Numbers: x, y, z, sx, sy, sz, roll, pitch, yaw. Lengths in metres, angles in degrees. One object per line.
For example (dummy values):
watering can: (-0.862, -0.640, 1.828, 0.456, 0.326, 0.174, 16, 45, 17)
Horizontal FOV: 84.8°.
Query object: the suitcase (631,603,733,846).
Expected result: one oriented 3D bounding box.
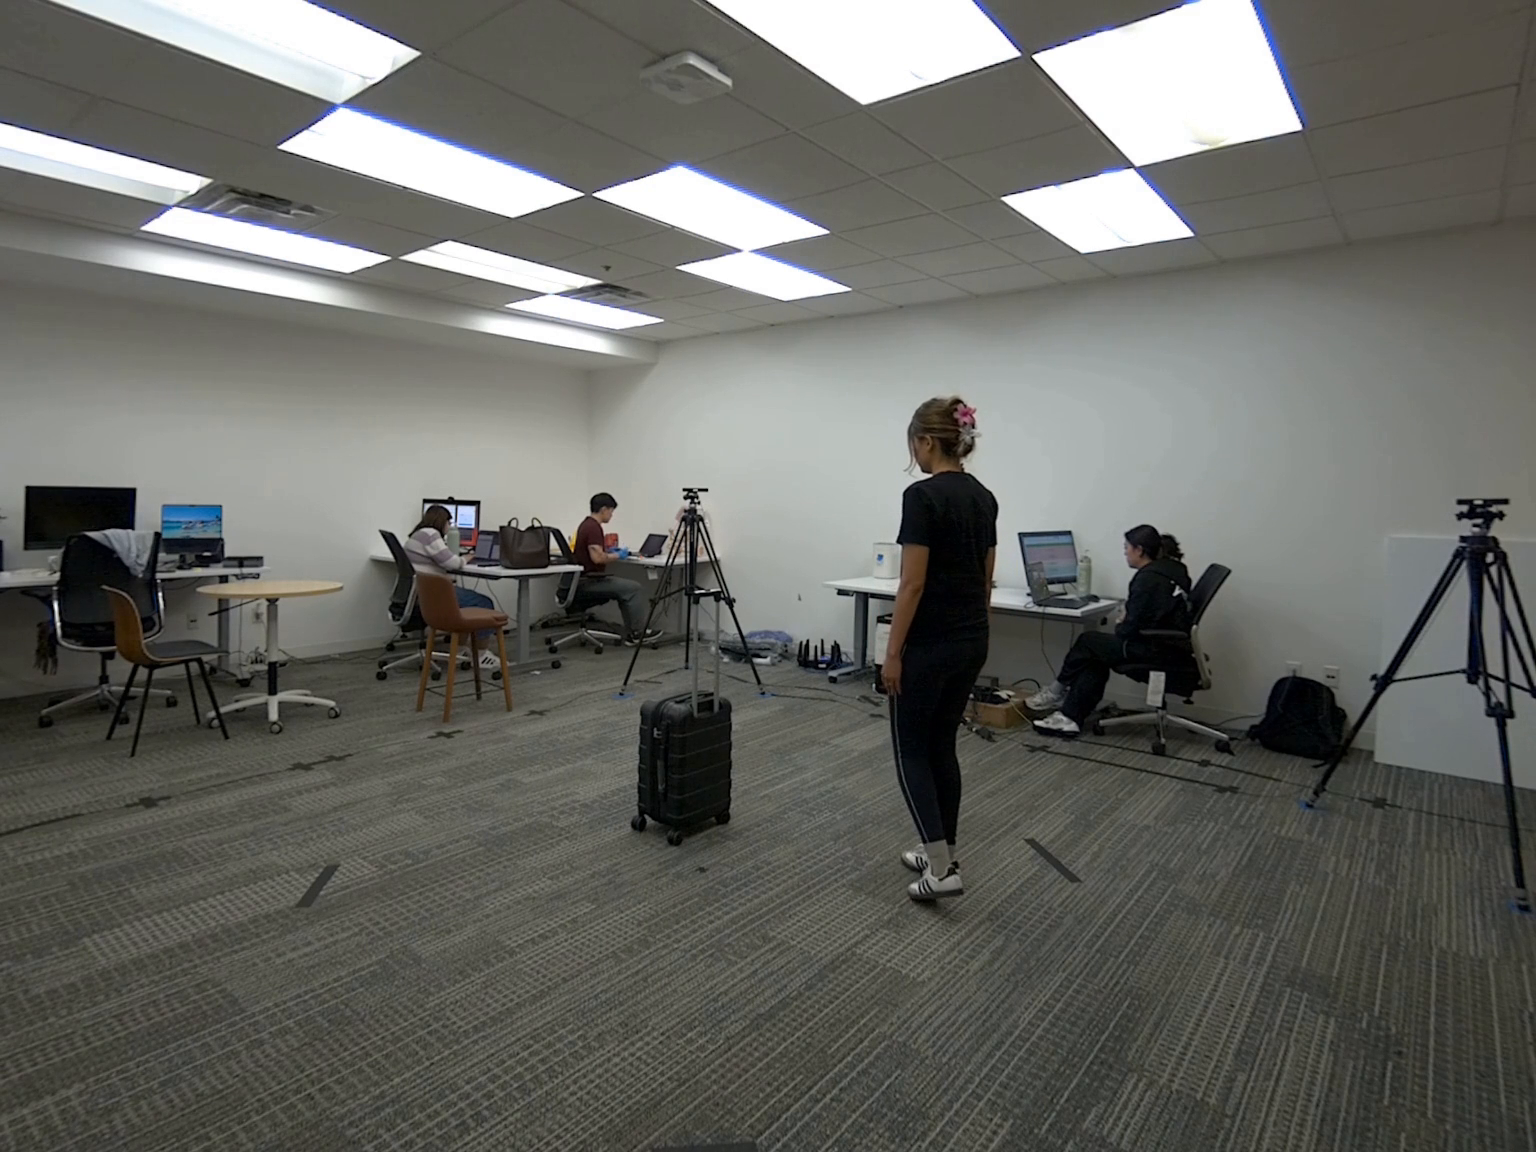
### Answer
suitcase: (-0.354, 0.553, 3.509, 0.265, 0.979, 0.372, 0, 0, 41)
